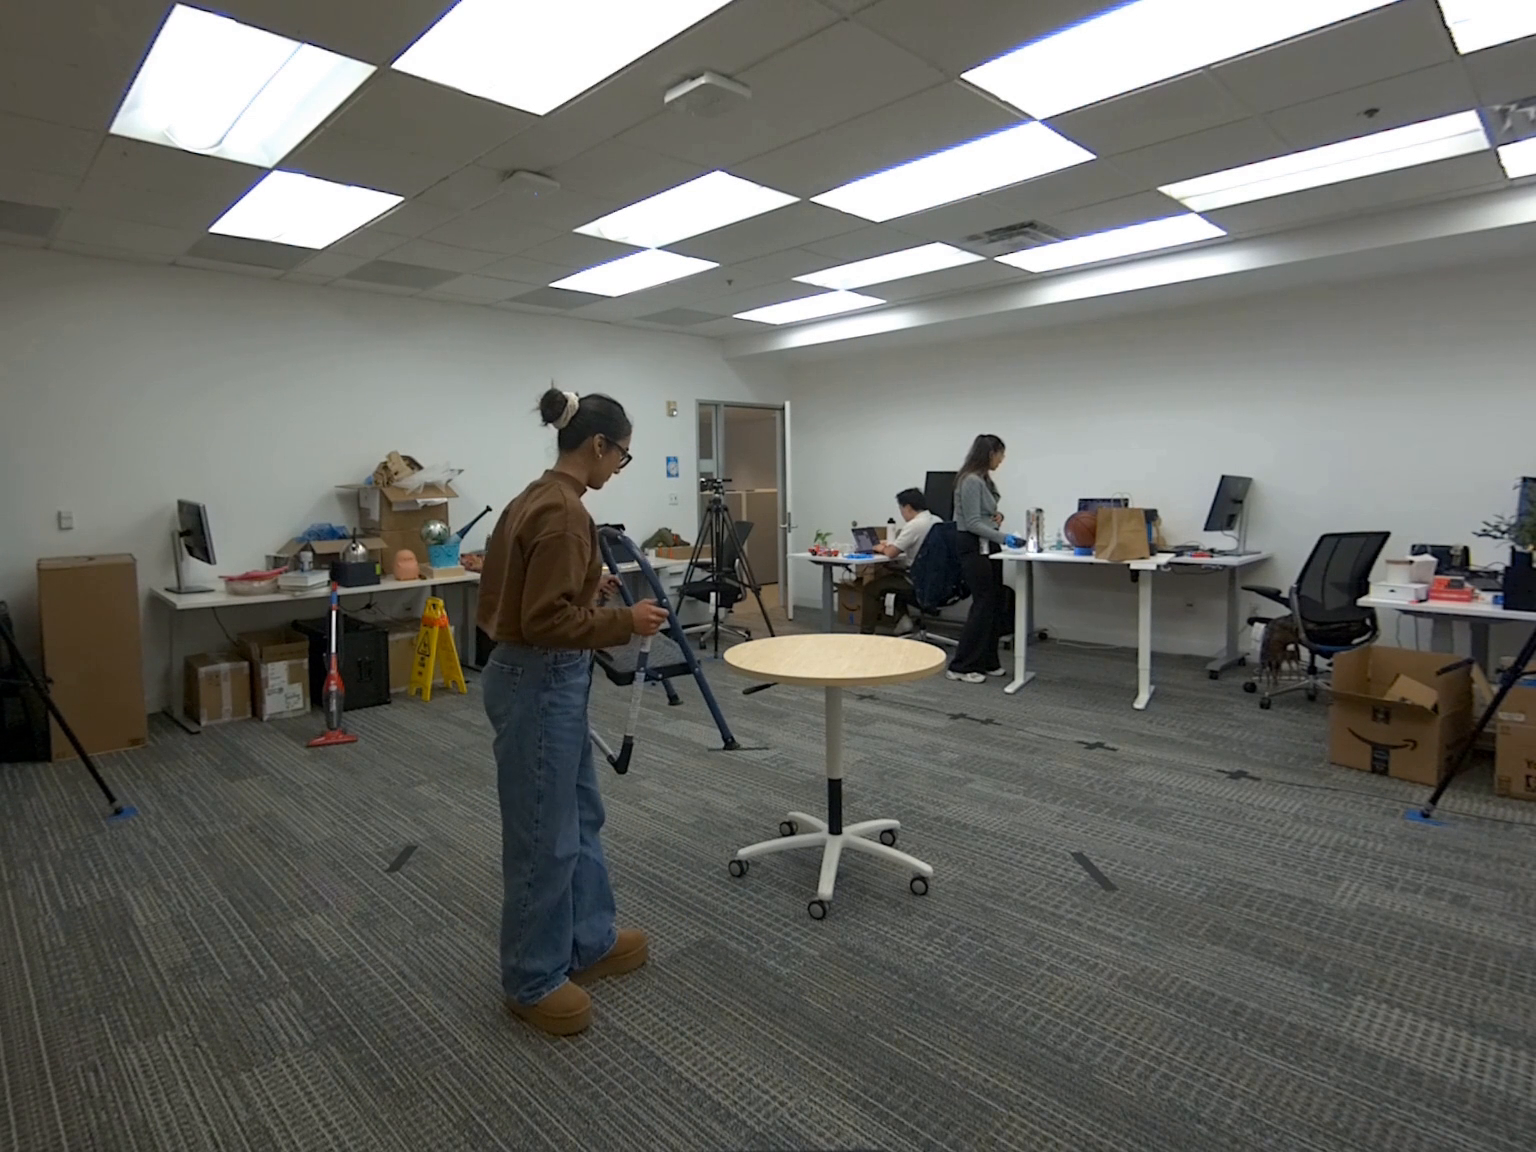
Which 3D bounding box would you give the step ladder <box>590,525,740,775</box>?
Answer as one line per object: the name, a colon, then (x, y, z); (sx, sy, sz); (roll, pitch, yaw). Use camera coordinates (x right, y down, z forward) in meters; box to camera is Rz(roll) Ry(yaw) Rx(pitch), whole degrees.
step ladder: (-0.342, 0.160, 2.398); (0.342, 0.600, 0.443); (-8, 11, -27)
